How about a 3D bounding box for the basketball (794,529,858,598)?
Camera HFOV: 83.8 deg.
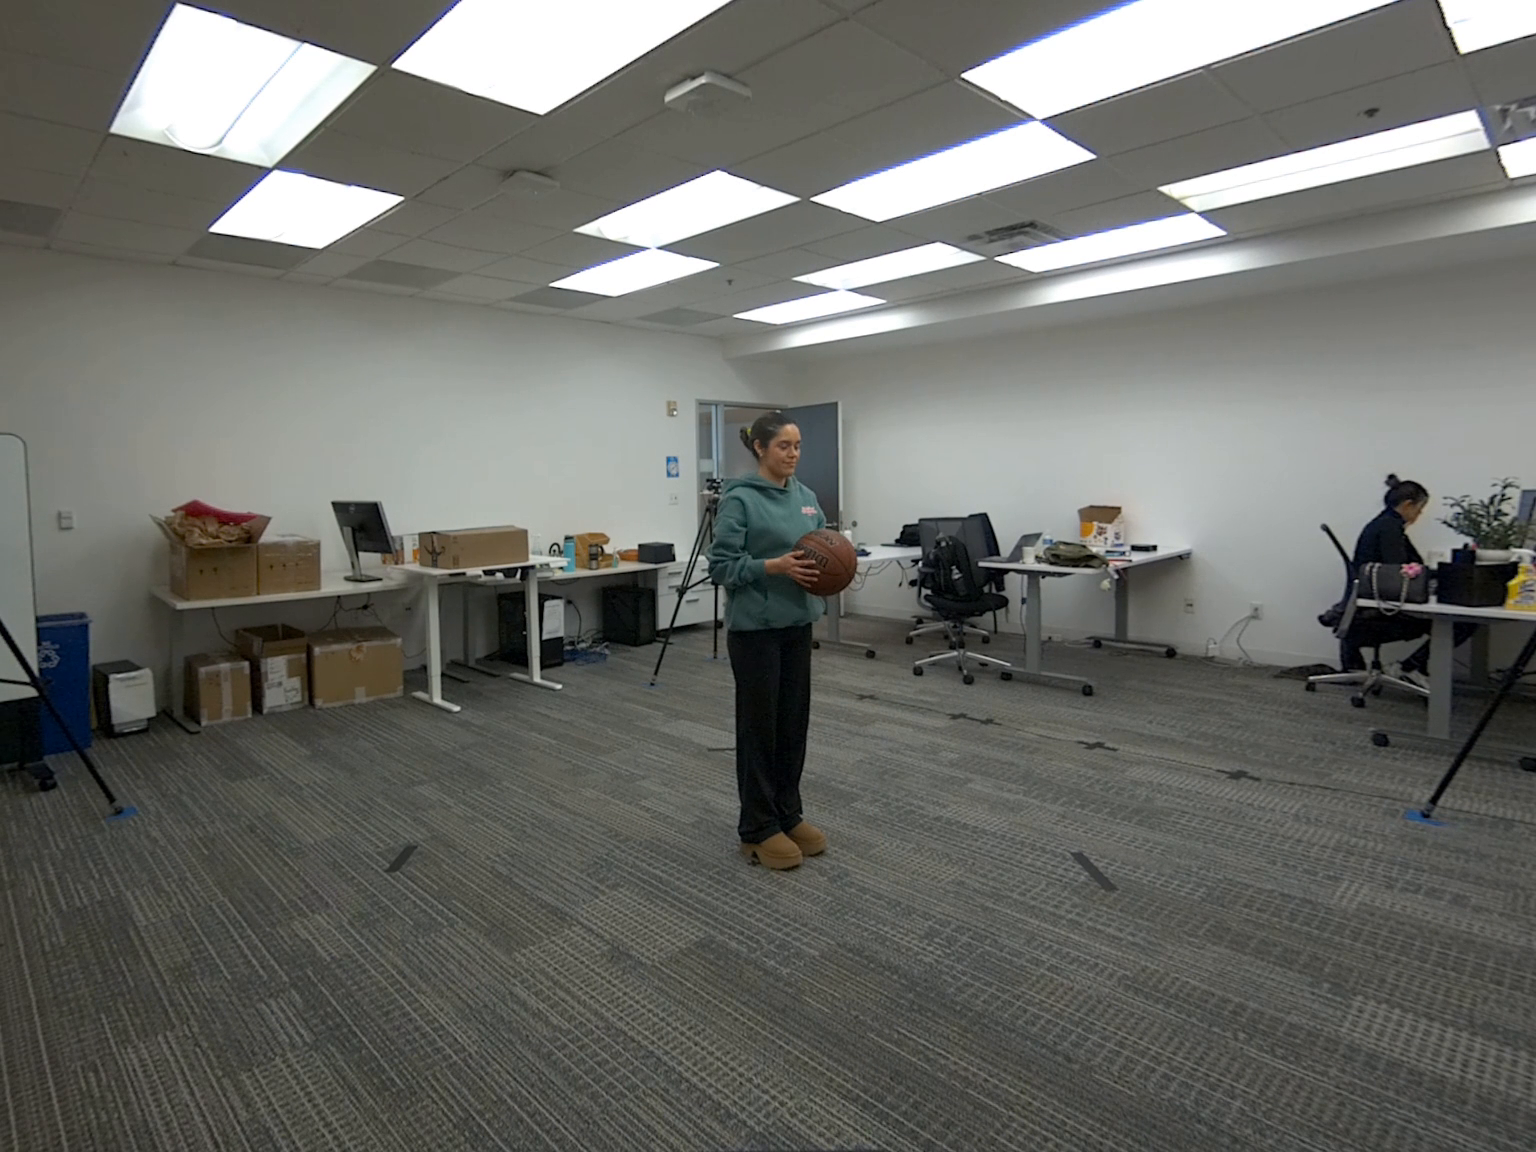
[{"bbox_3d":[0.191,-0.041,2.990,0.236,0.235,0.237,-1,5,-2],"label":"basketball"}]
